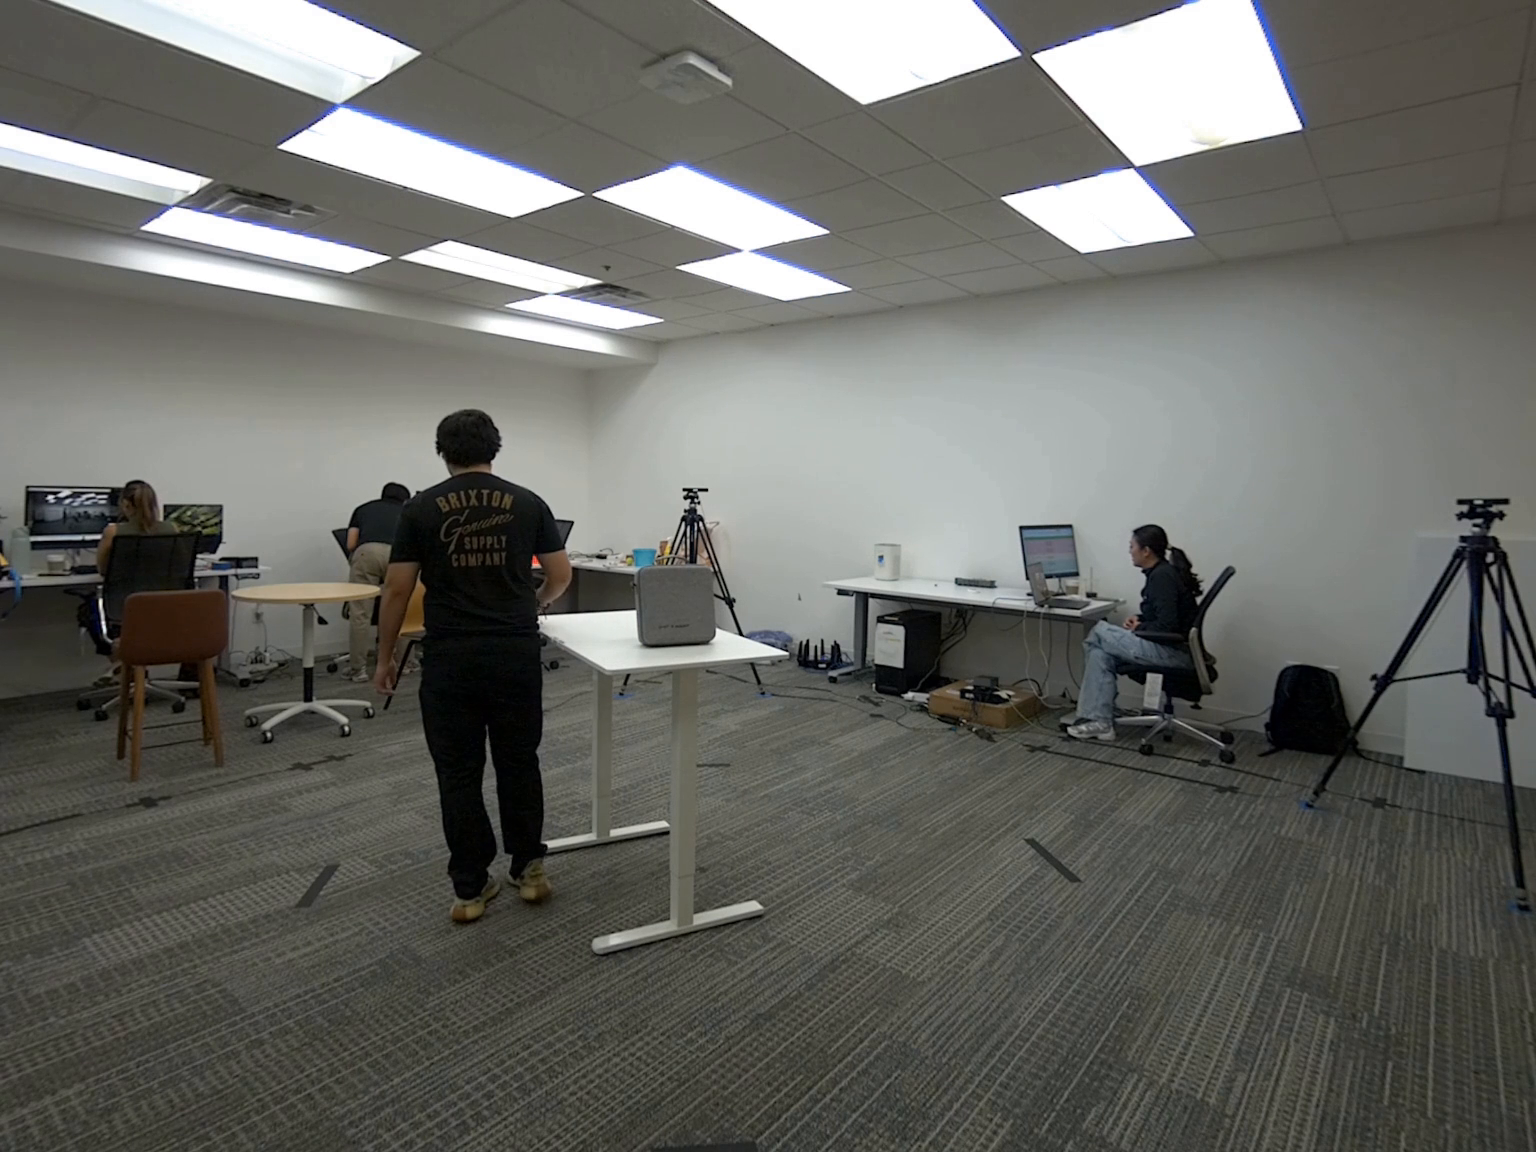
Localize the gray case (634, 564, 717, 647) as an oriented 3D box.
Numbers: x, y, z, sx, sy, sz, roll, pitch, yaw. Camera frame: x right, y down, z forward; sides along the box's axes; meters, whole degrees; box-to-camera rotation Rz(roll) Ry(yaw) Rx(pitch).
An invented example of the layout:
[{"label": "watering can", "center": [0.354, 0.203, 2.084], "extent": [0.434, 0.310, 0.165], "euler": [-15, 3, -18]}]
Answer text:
[{"label": "gray case", "center": [-0.315, 0.088, 2.774], "extent": [0.252, 0.262, 0.106], "euler": [-1, -4, -18]}]
